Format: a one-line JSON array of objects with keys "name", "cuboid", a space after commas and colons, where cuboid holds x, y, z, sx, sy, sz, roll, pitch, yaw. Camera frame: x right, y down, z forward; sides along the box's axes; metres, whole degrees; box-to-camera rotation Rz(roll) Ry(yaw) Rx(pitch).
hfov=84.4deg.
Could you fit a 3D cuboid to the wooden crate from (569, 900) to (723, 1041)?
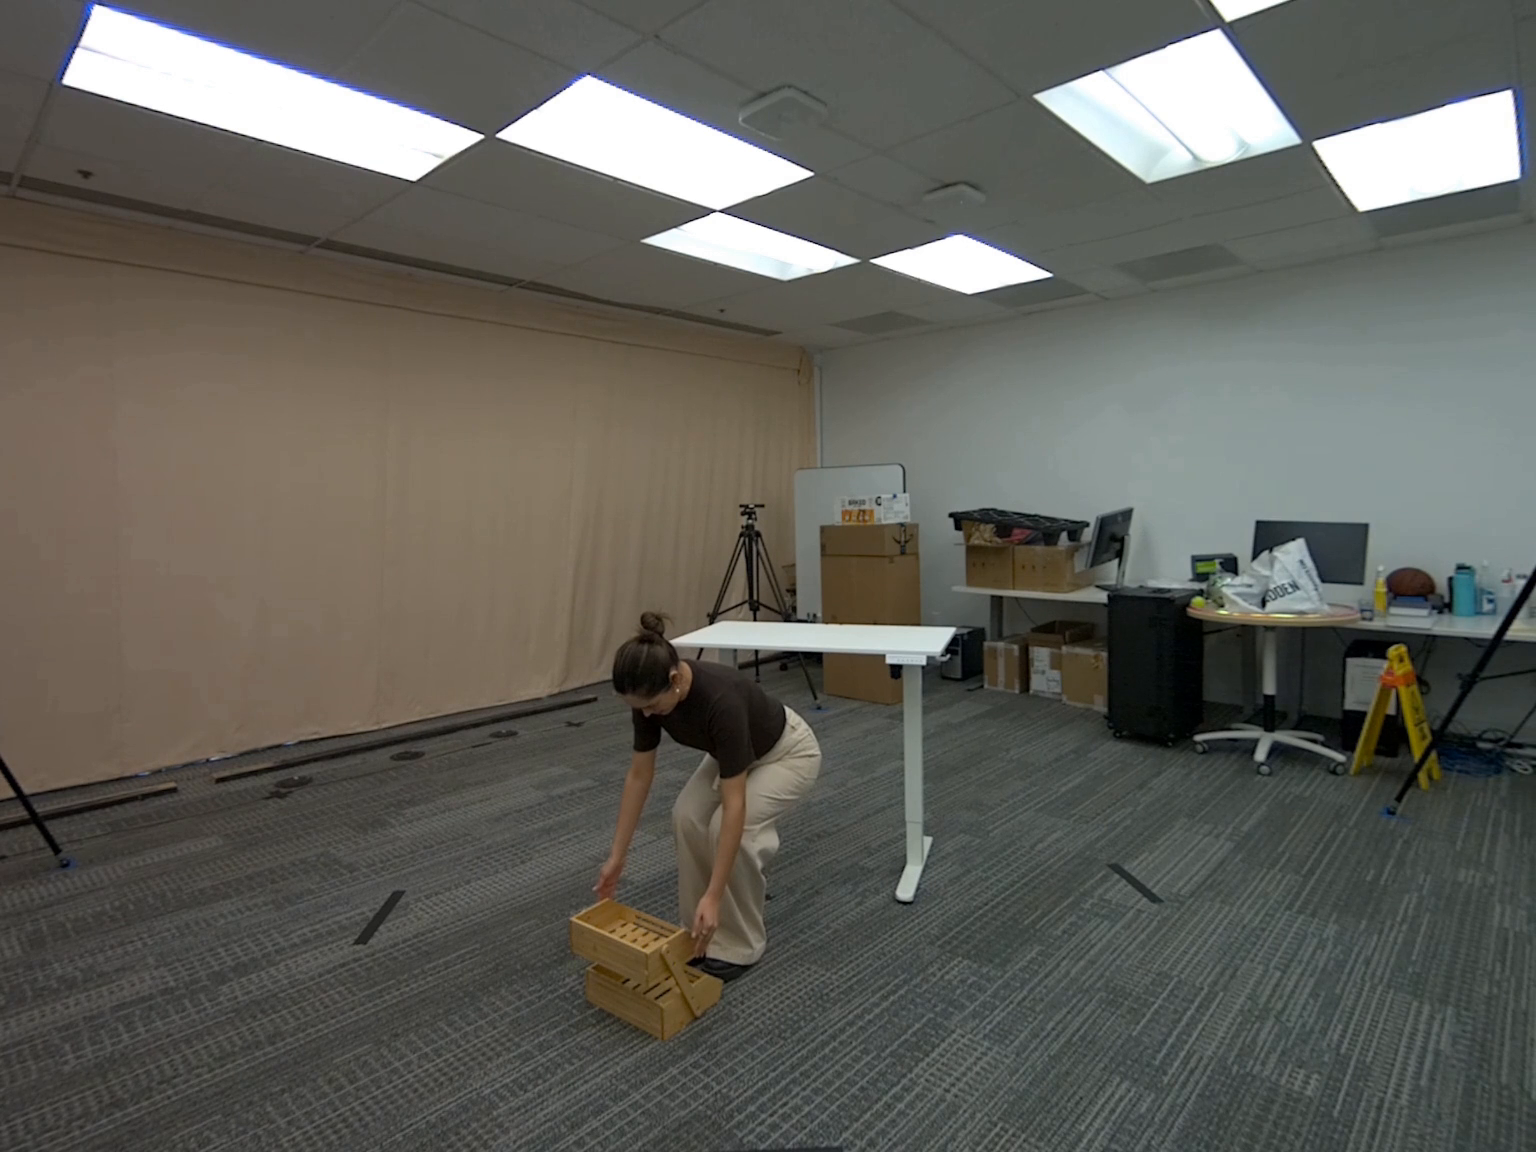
[{"name": "wooden crate", "cuboid": [-0.331, 1.058, 2.360, 0.335, 0.272, 0.293, 2, 6, 37]}]
